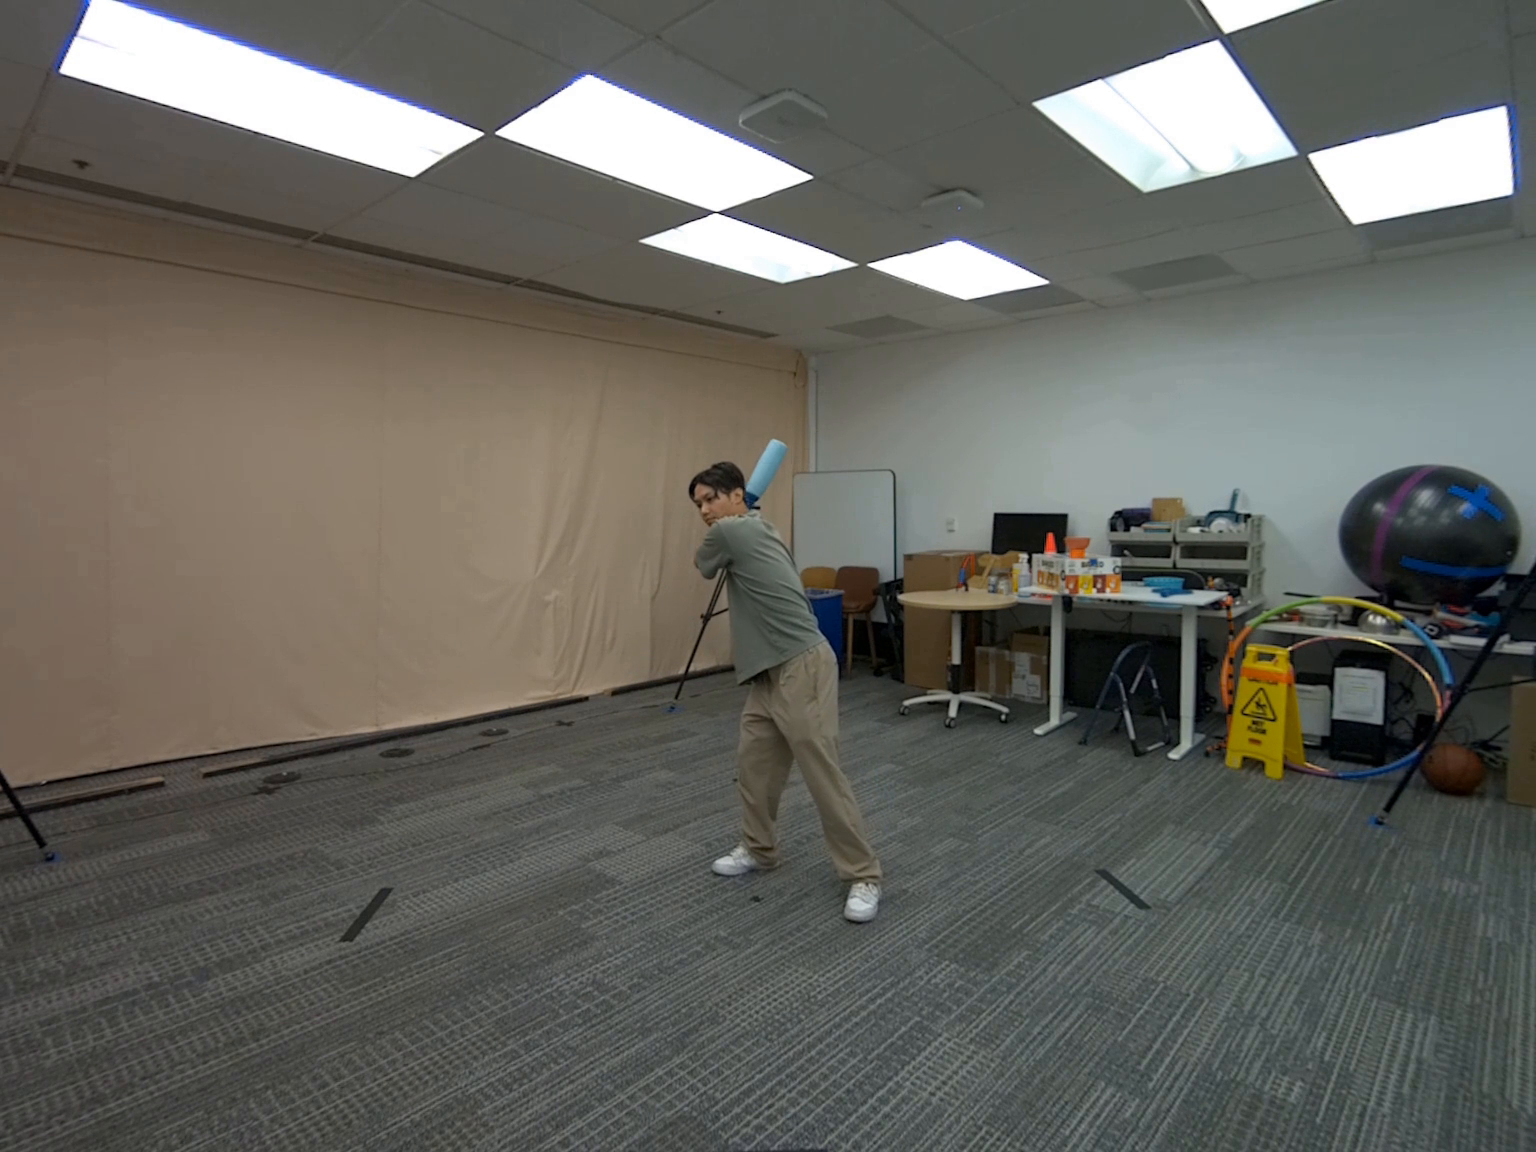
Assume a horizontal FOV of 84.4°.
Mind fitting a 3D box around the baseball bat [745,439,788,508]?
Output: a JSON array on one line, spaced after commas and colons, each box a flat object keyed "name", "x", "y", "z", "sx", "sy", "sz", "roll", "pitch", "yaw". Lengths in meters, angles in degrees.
[{"name": "baseball bat", "x": -0.073, "y": -0.321, "z": 3.572, "sx": 0.089, "sy": 0.543, "sz": 0.089, "roll": 28, "pitch": -1, "yaw": -1}]
